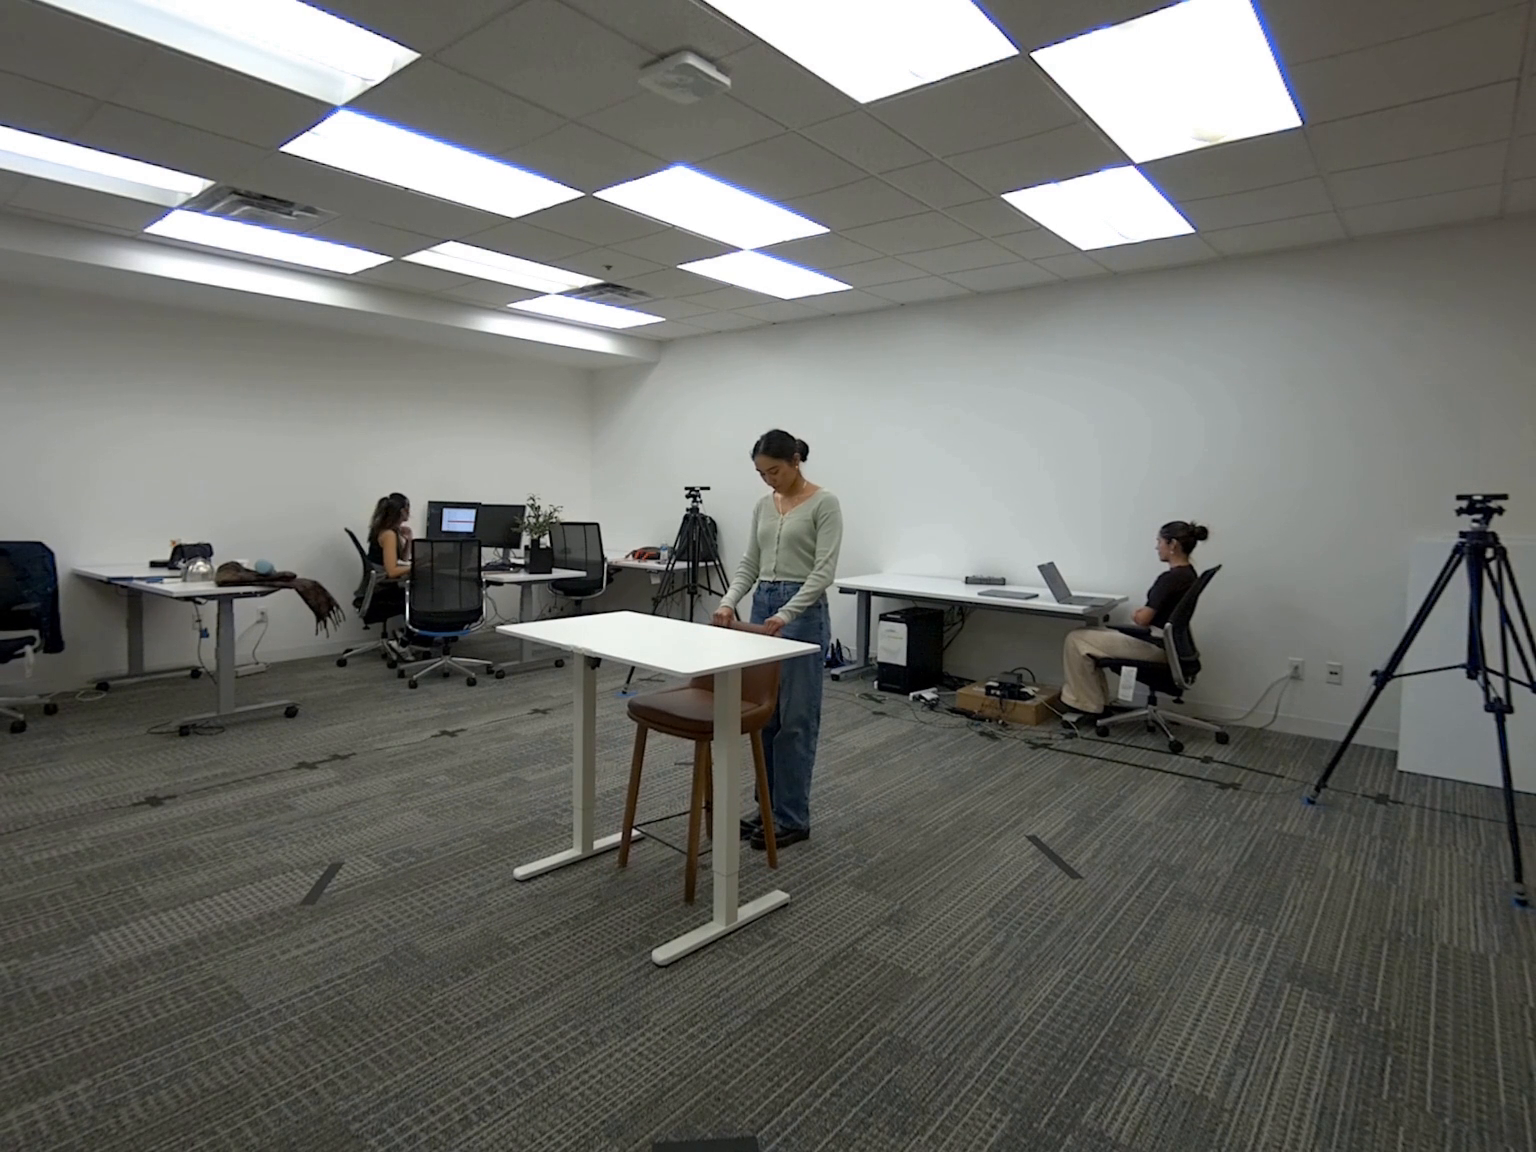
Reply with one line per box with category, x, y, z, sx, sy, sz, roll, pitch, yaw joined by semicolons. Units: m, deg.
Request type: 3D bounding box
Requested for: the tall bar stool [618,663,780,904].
tall bar stool;-0.242;0.626;3.107;0.452;0.889;0.472;2;1;-44
